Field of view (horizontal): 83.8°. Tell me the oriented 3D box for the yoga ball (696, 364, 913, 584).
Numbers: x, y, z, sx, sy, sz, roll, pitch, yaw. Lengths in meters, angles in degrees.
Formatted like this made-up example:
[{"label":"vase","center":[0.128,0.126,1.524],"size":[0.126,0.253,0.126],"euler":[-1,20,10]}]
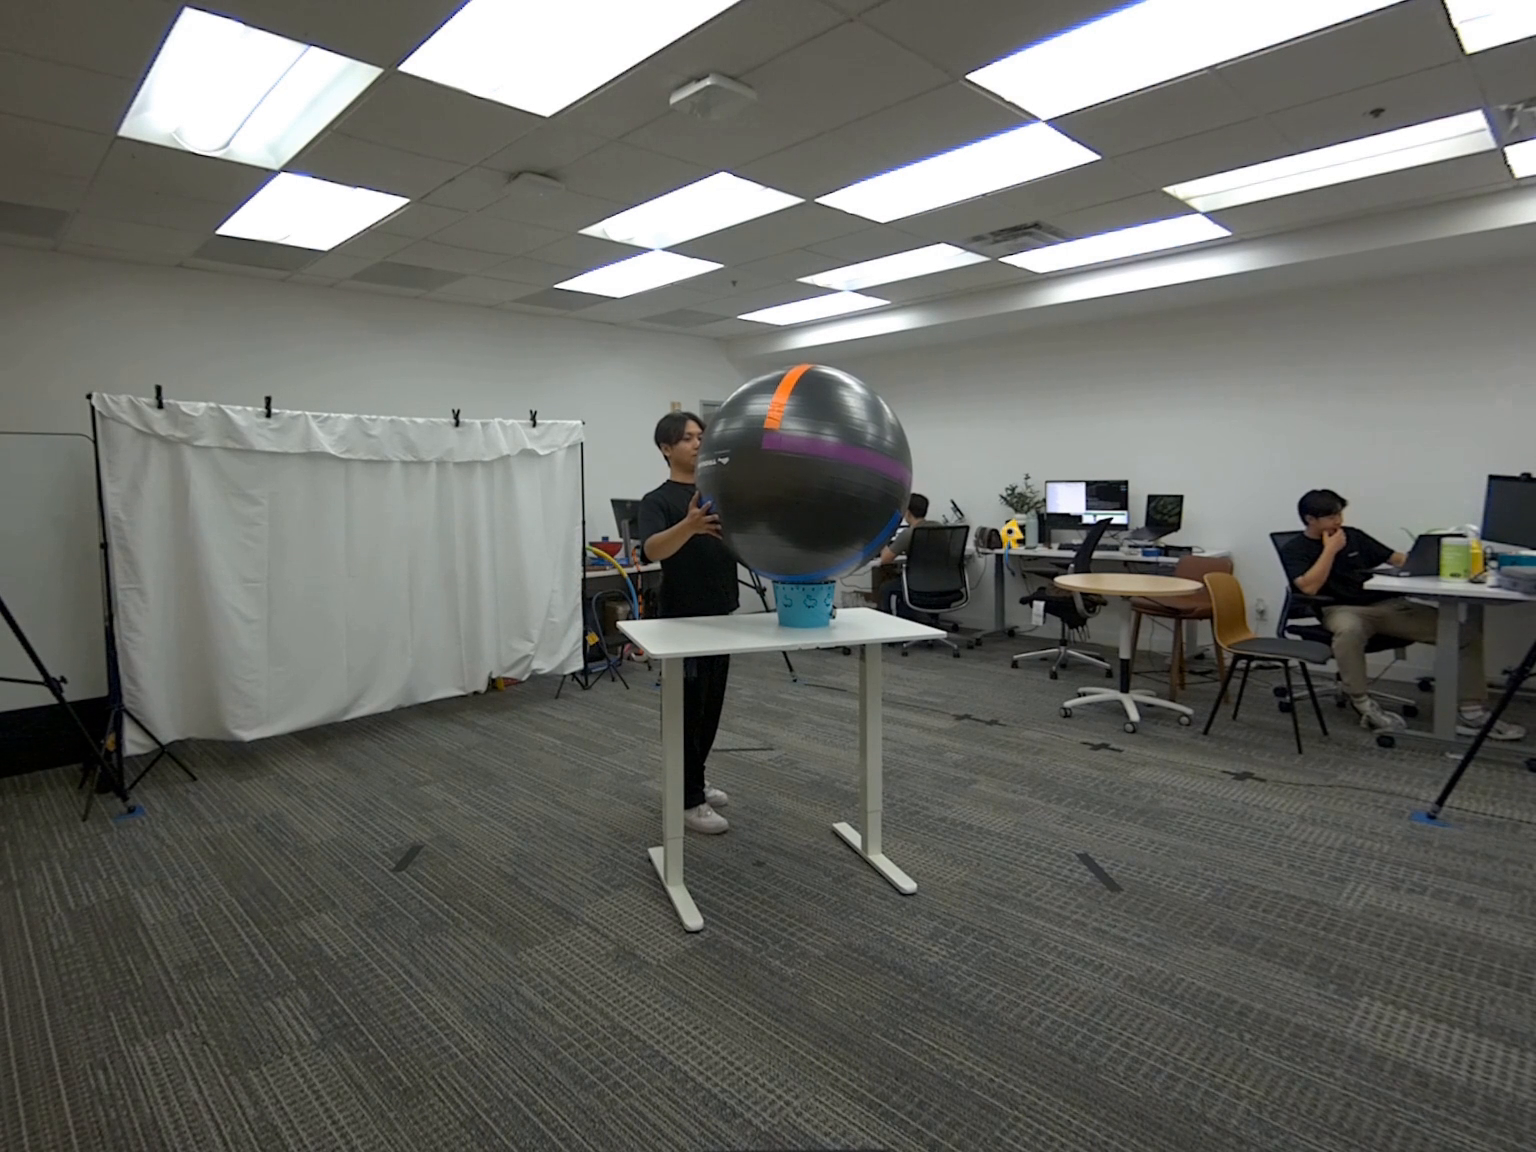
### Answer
[{"label":"yoga ball","center":[0.120,-0.350,2.995],"size":[0.757,0.755,0.762],"euler":[-1,5,-2]}]
